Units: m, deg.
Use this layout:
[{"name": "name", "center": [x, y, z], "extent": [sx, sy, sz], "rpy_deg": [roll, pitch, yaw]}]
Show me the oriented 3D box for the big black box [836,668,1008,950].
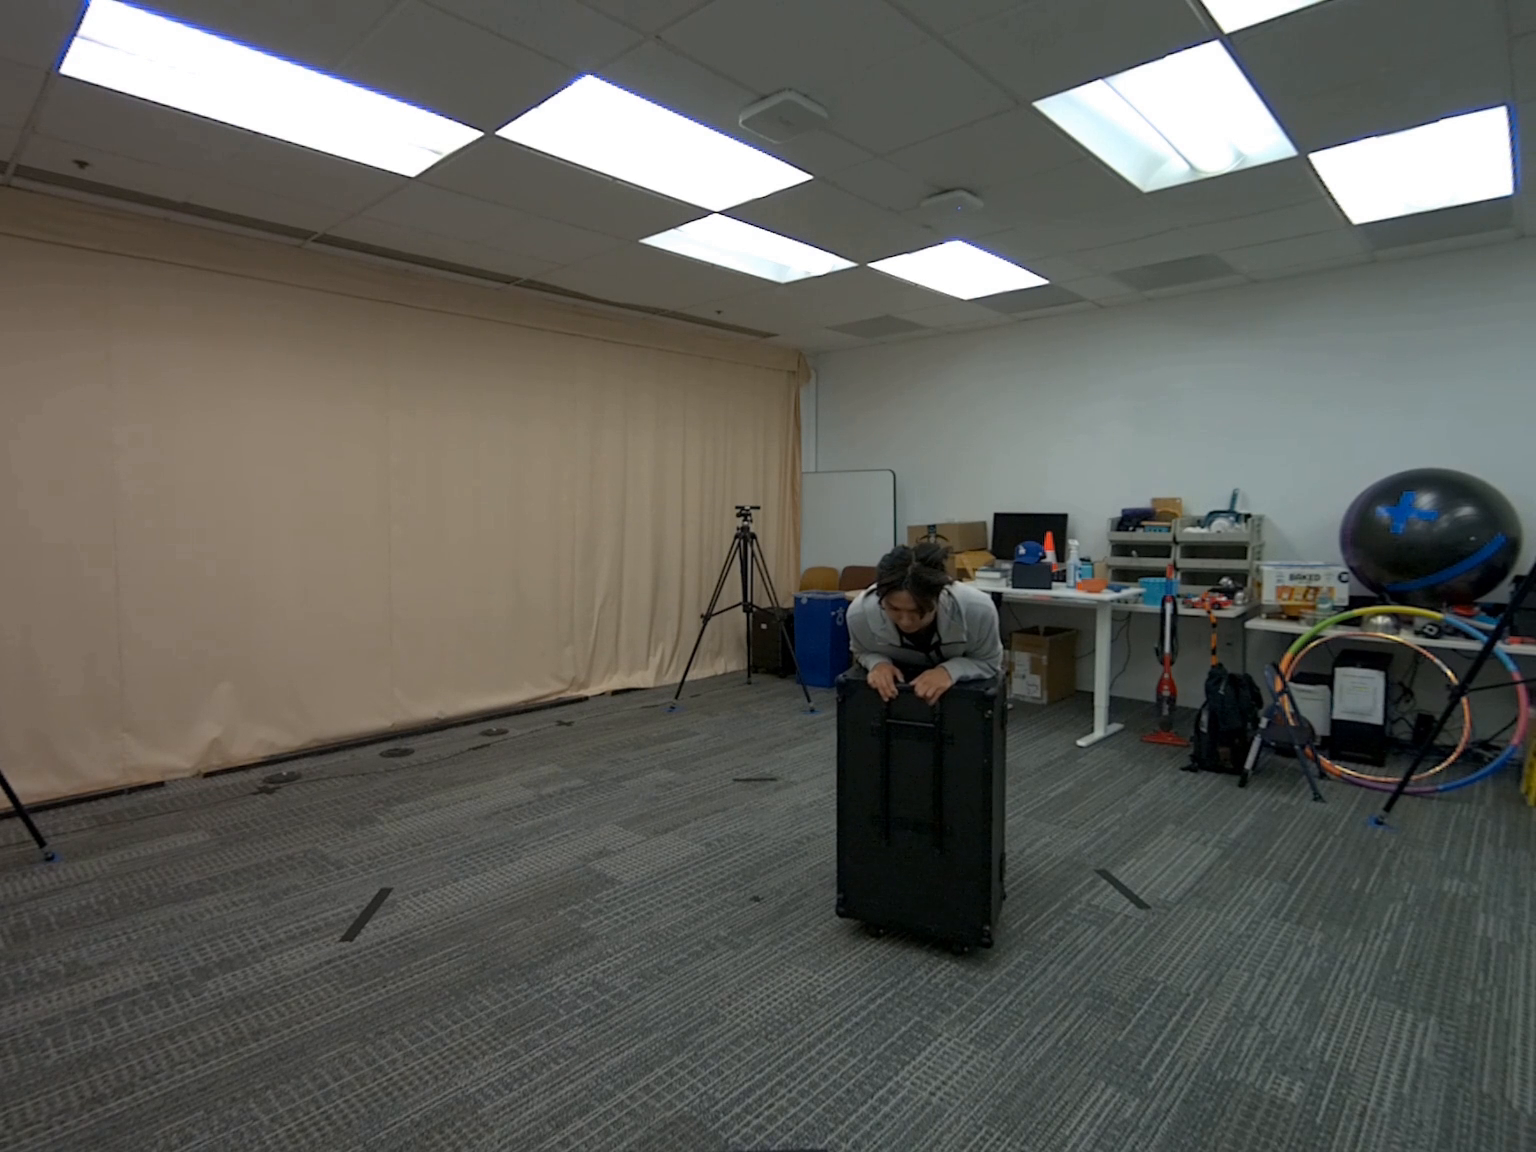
[{"name": "big black box", "center": [0.512, 0.747, 2.740], "extent": [0.534, 0.859, 0.387], "rpy_deg": [1, 4, 24]}]
